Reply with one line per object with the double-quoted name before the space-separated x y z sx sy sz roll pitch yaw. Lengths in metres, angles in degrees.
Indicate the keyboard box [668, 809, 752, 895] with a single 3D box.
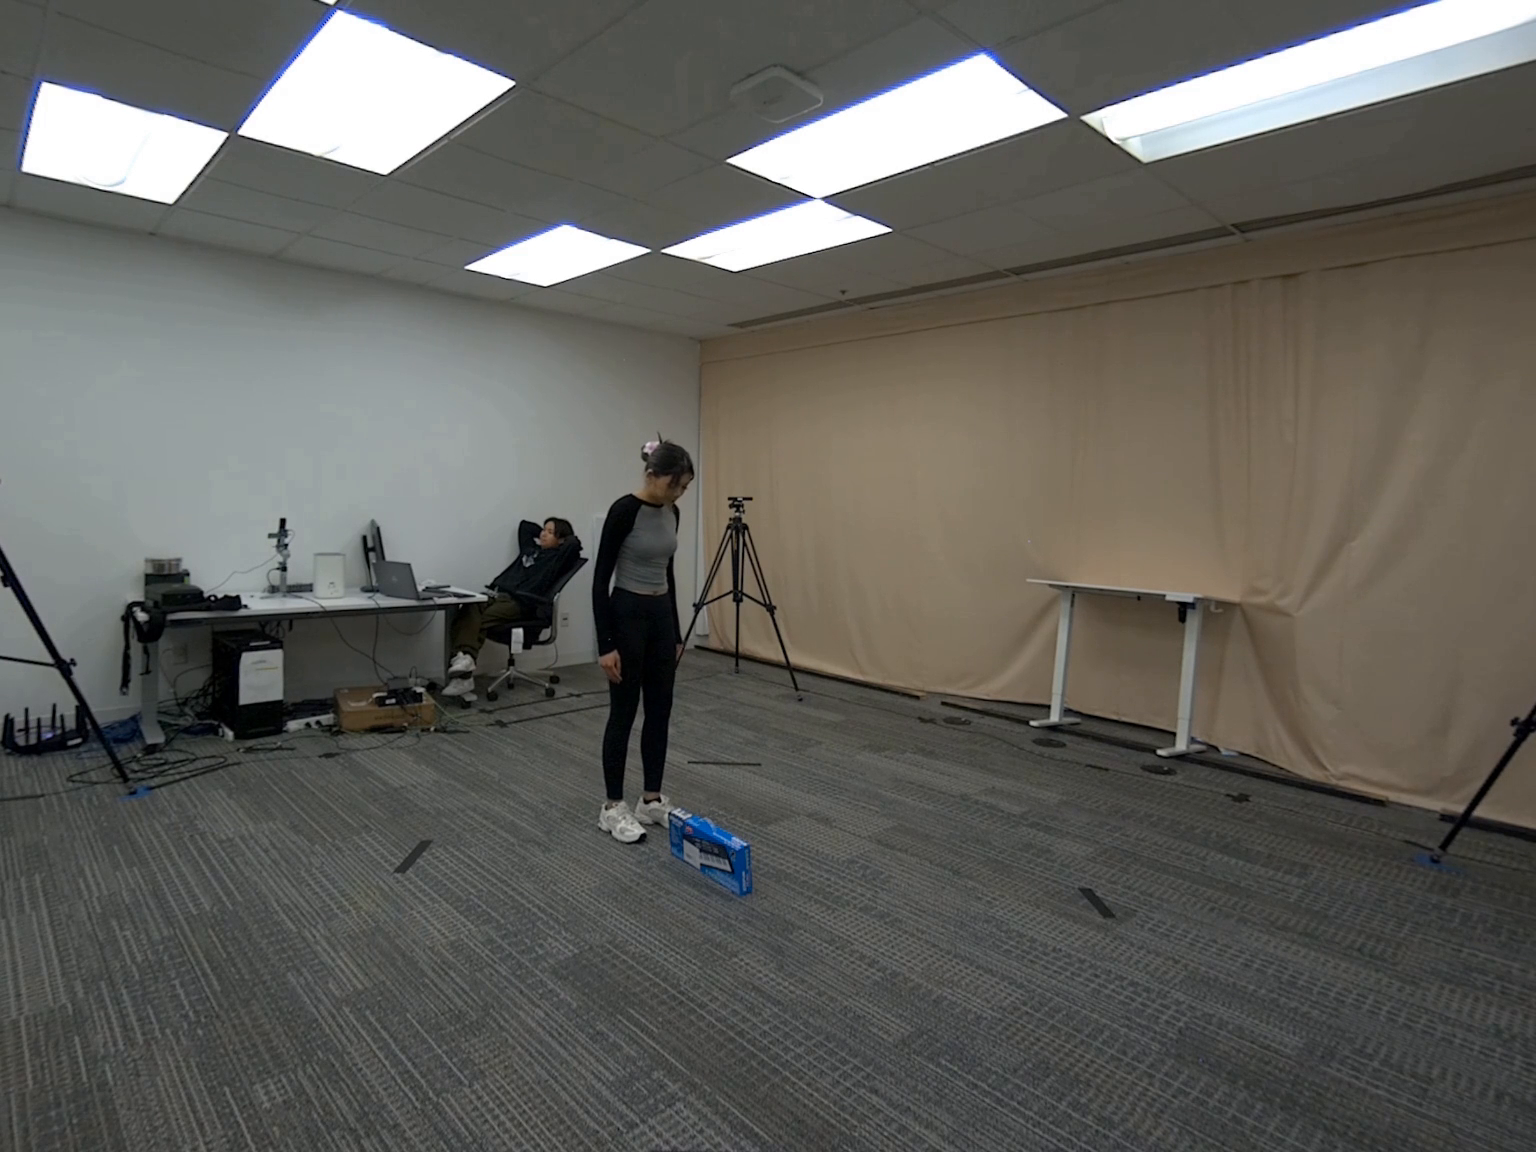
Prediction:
"keyboard box" -0.228 1.018 3.123 0.058 0.175 0.448 -9 10 -39
